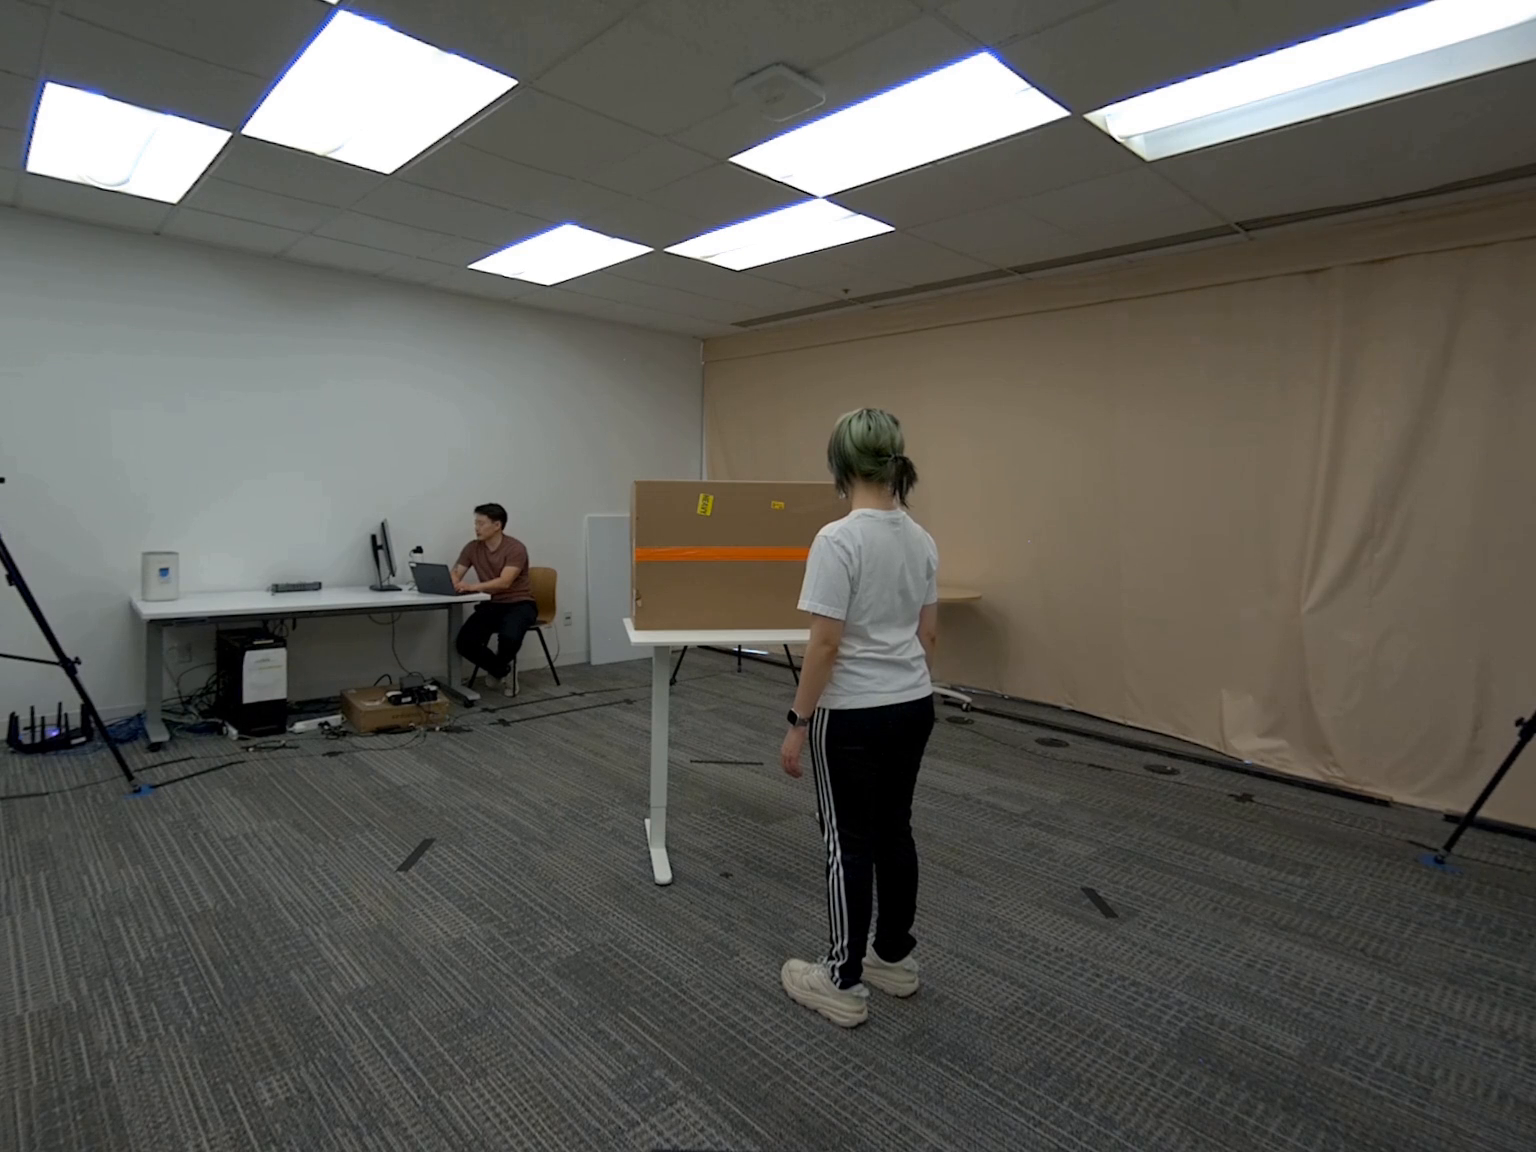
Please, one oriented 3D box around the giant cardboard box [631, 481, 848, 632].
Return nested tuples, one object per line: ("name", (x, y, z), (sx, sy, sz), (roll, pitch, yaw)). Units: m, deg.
("giant cardboard box", (-0.062, -0.093, 3.466), (1.018, 0.583, 0.451), (0, 3, -10))
